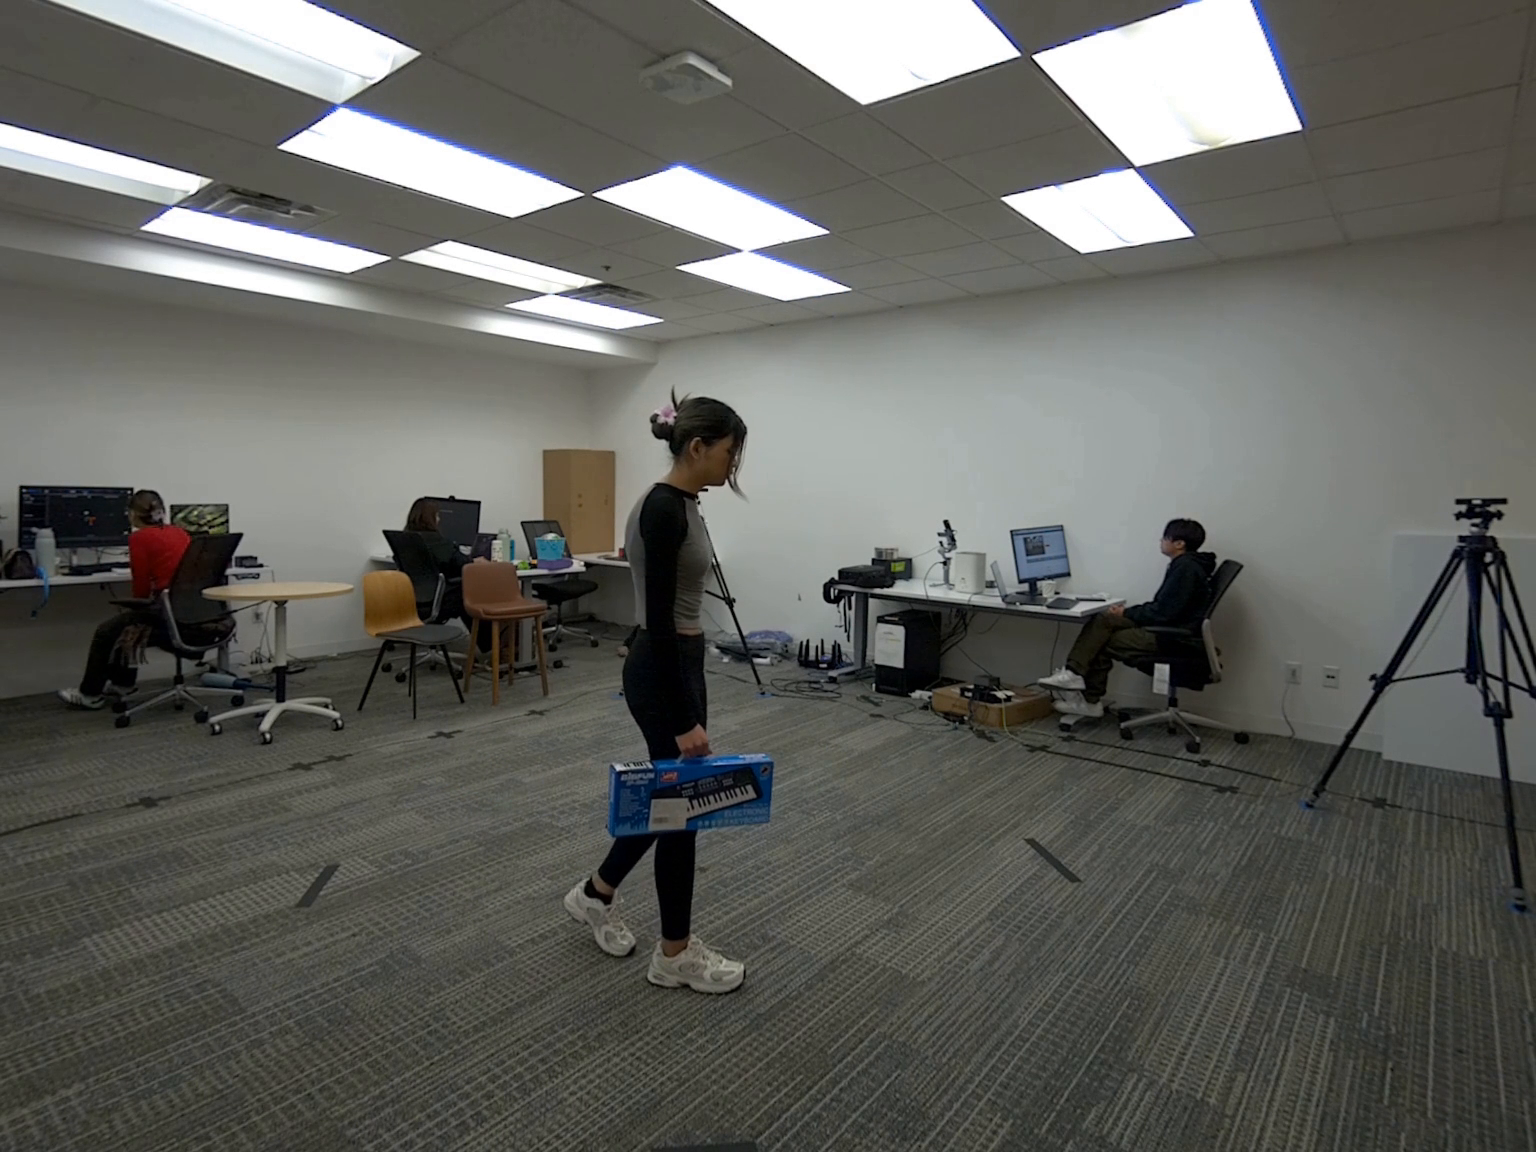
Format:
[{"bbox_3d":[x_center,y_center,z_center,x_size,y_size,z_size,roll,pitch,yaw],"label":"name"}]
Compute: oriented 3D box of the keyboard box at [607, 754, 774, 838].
[{"bbox_3d":[-0.208,0.570,2.222,0.427,0.175,0.060,1,4,-22],"label":"keyboard box"}]
